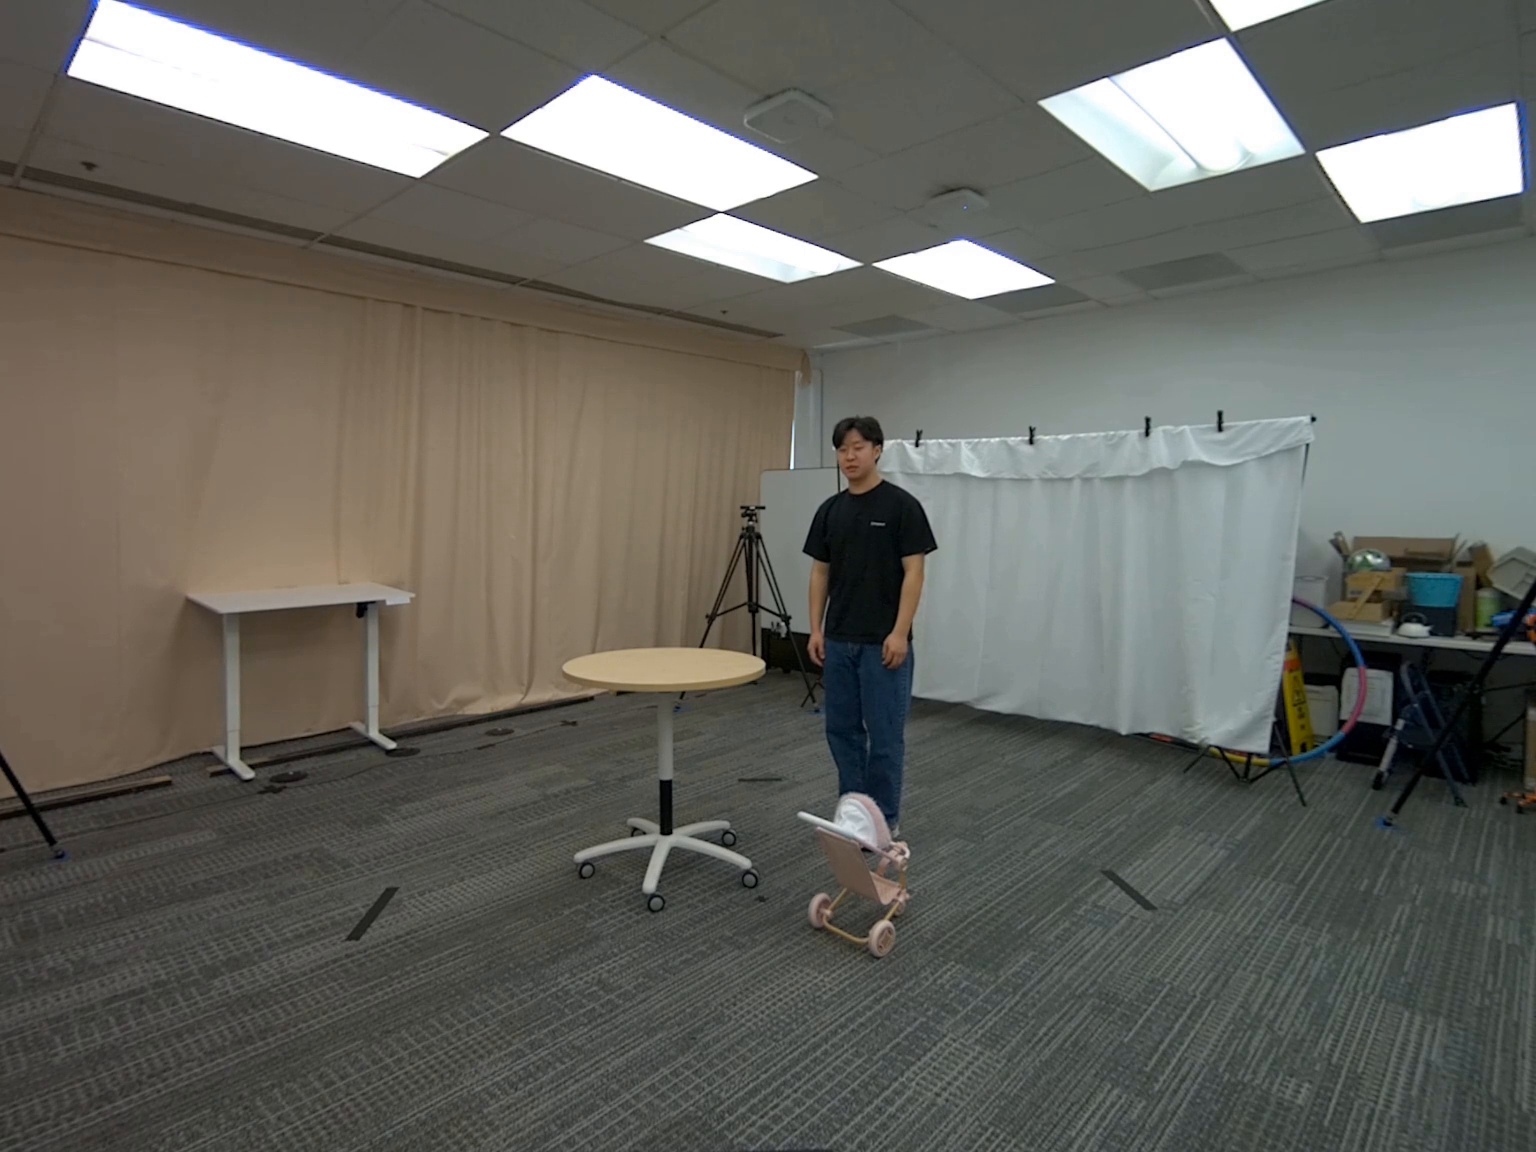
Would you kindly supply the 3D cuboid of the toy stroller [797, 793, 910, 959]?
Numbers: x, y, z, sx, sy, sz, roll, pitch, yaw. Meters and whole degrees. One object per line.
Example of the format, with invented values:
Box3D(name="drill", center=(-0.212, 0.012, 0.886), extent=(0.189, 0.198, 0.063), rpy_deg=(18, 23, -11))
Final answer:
Box3D(name="toy stroller", center=(0.311, 0.940, 2.720), extent=(0.334, 0.529, 0.290), rpy_deg=(-22, 16, -37))
